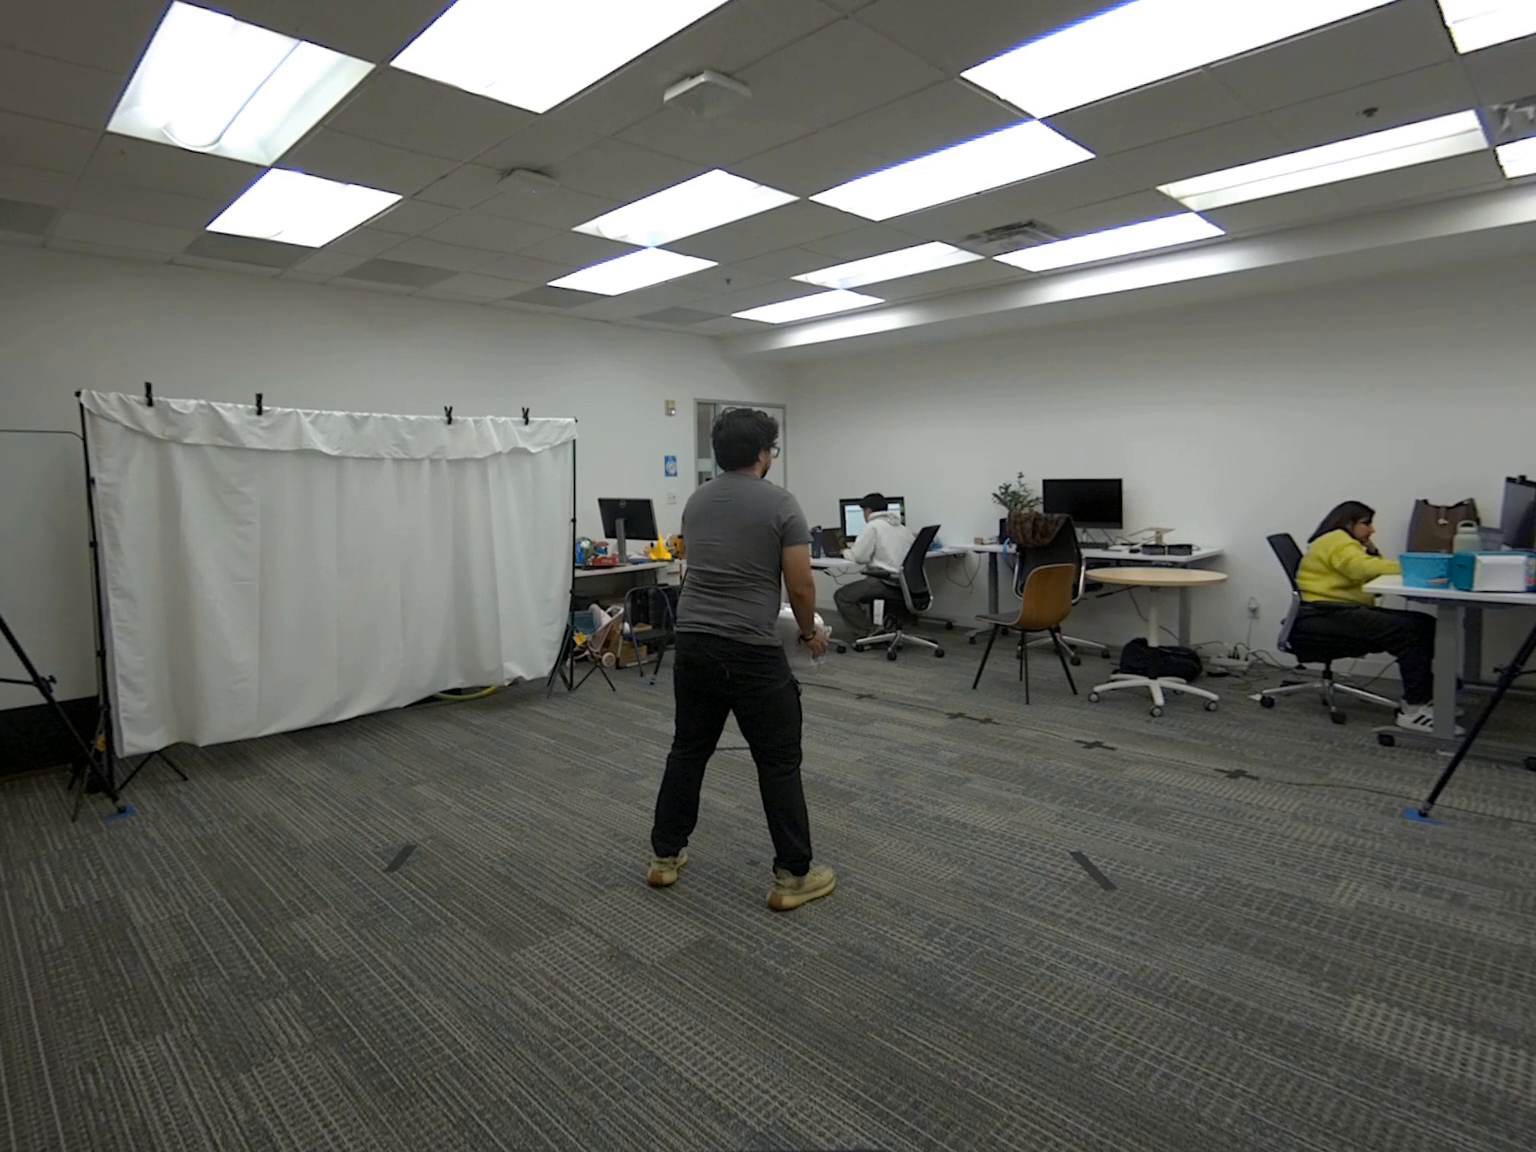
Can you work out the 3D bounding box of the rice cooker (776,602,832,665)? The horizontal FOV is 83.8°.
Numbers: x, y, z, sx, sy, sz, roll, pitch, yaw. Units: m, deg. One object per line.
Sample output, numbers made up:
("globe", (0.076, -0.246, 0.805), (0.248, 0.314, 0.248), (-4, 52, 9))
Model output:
("rice cooker", (0.106, 0.220, 3.155), (0.227, 0.232, 0.211), (6, 3, 34))
